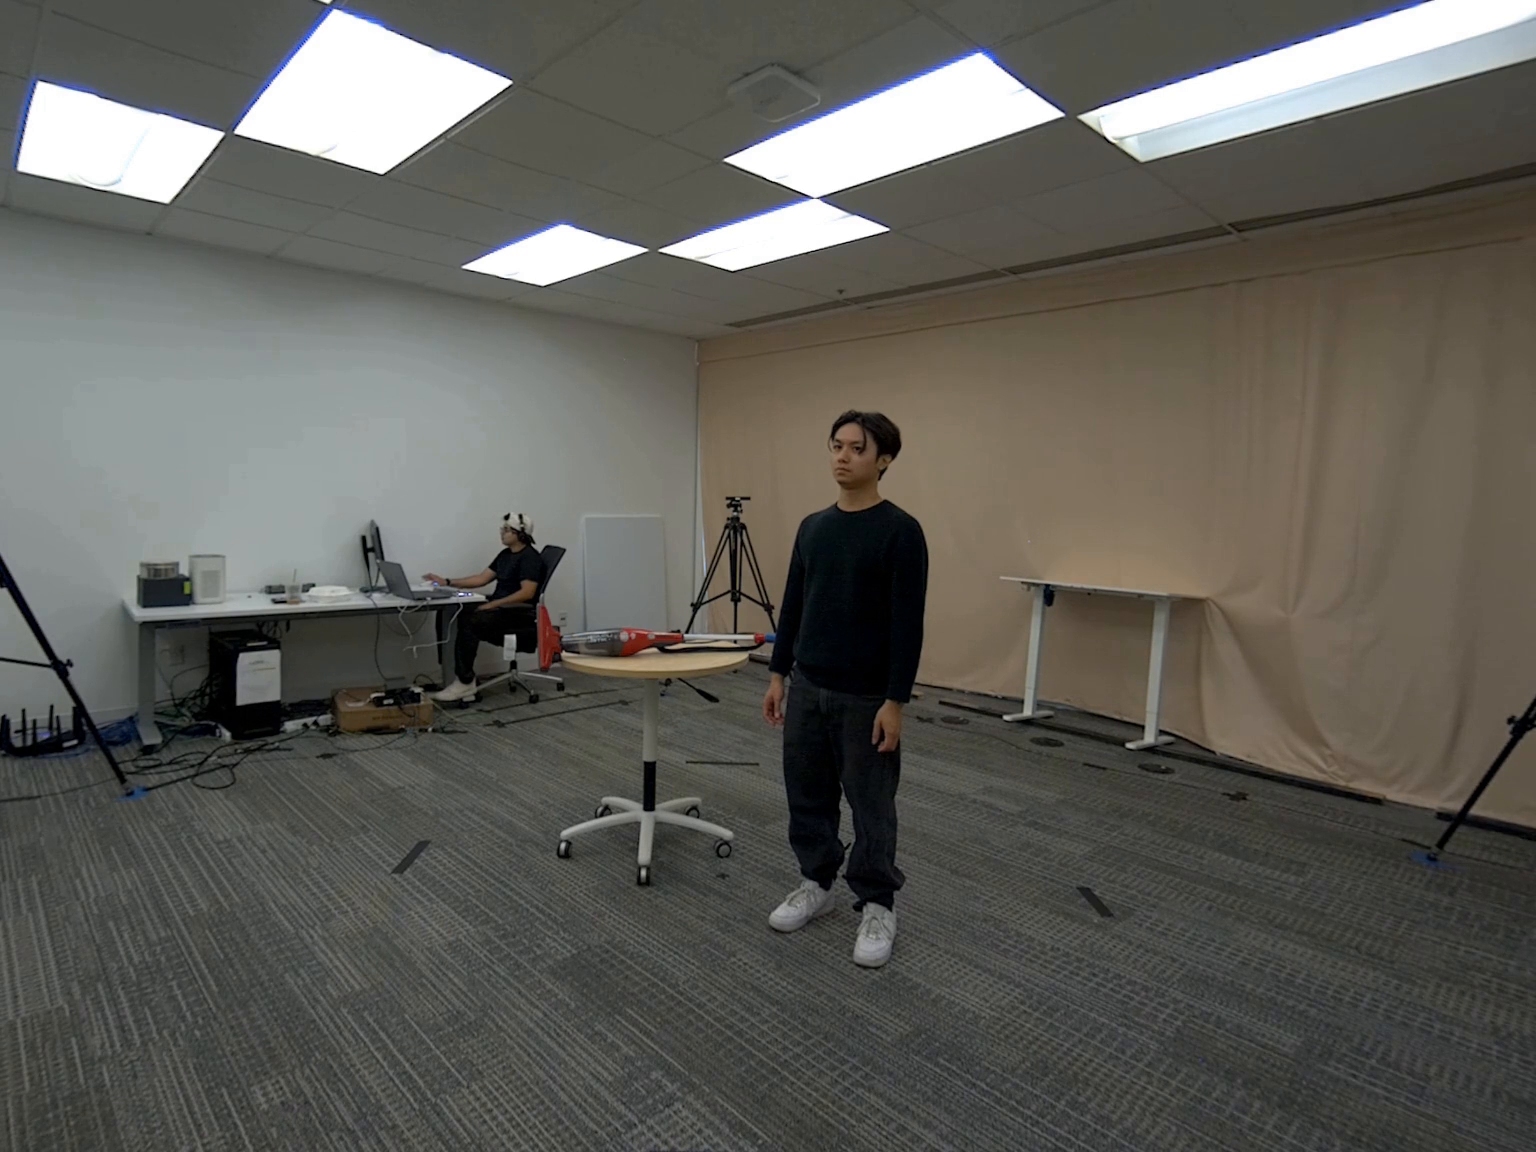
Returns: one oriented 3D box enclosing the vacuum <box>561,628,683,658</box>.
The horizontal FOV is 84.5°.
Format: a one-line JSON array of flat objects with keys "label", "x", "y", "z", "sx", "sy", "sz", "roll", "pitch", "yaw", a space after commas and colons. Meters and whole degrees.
[{"label": "vacuum", "x": -0.349, "y": 0.266, "z": 3.279, "sx": 1.031, "sy": 0.258, "sz": 0.143, "roll": 3, "pitch": -30, "yaw": -23}]
